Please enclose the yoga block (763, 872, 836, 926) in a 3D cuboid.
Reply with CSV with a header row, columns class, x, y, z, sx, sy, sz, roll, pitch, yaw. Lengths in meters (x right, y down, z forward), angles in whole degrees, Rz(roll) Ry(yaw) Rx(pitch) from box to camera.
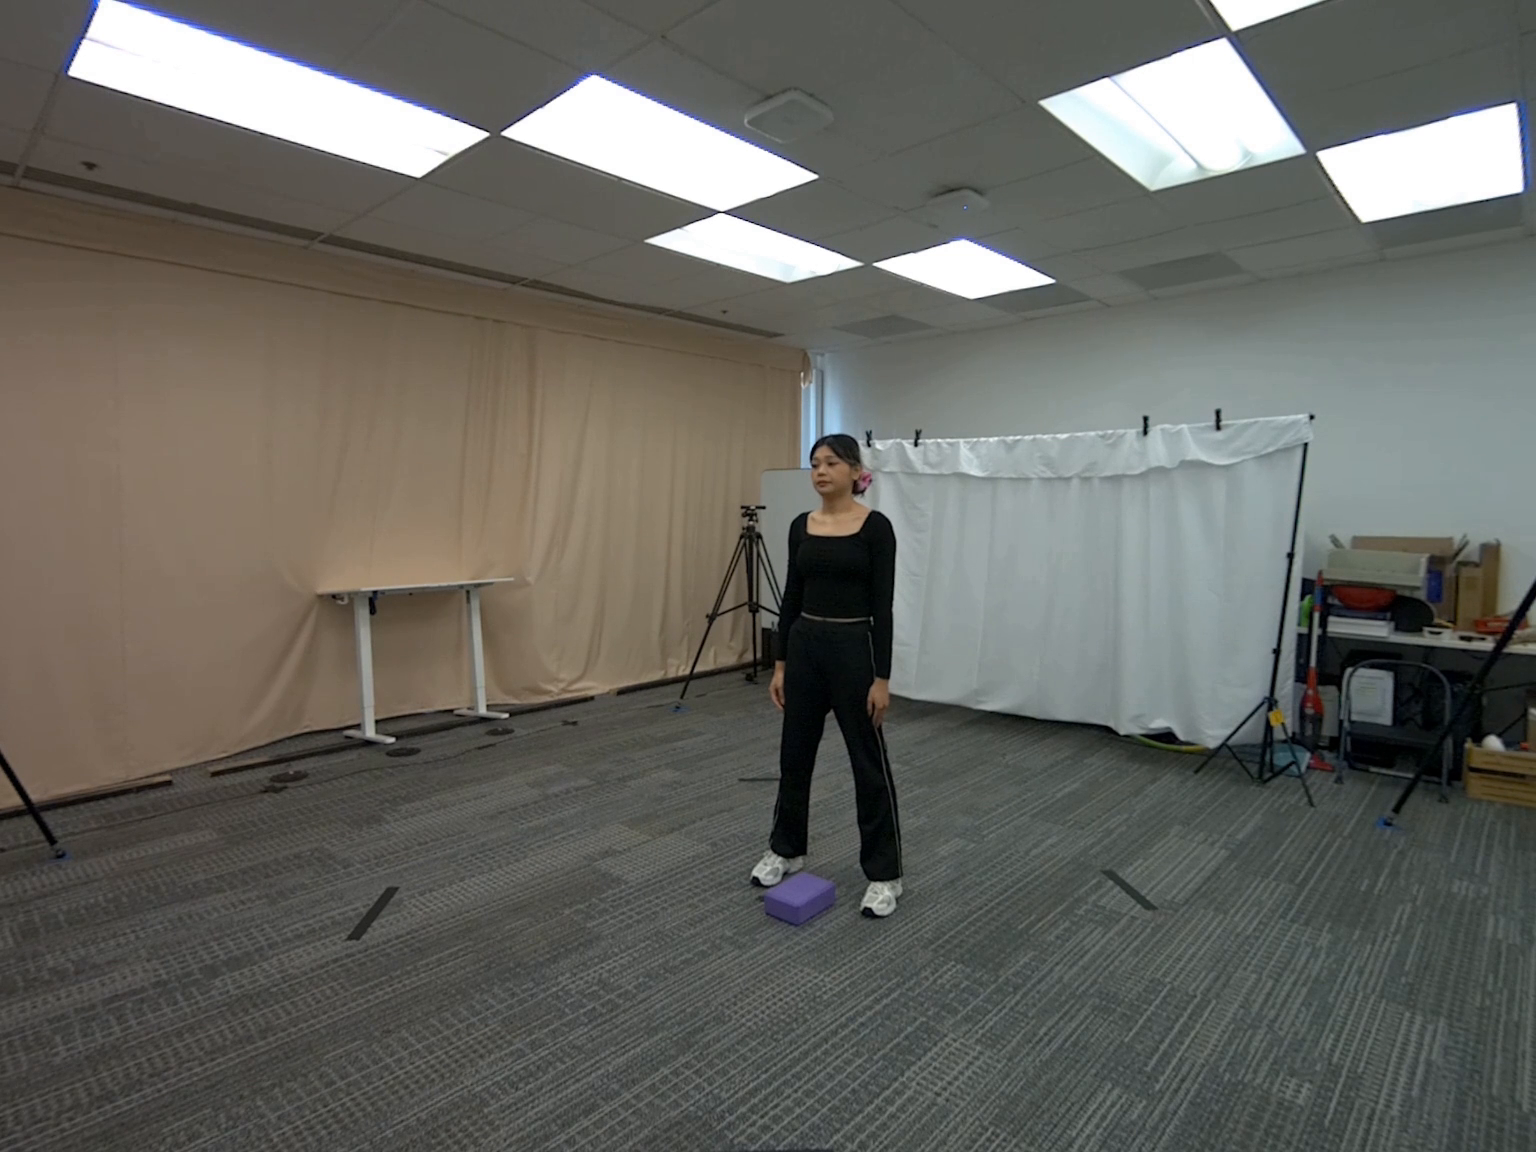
class,x,y,z,sx,sy,sz,roll,pitch,yaw
yoga block,0.113,1.107,2.909,0.154,0.076,0.223,5,8,38
